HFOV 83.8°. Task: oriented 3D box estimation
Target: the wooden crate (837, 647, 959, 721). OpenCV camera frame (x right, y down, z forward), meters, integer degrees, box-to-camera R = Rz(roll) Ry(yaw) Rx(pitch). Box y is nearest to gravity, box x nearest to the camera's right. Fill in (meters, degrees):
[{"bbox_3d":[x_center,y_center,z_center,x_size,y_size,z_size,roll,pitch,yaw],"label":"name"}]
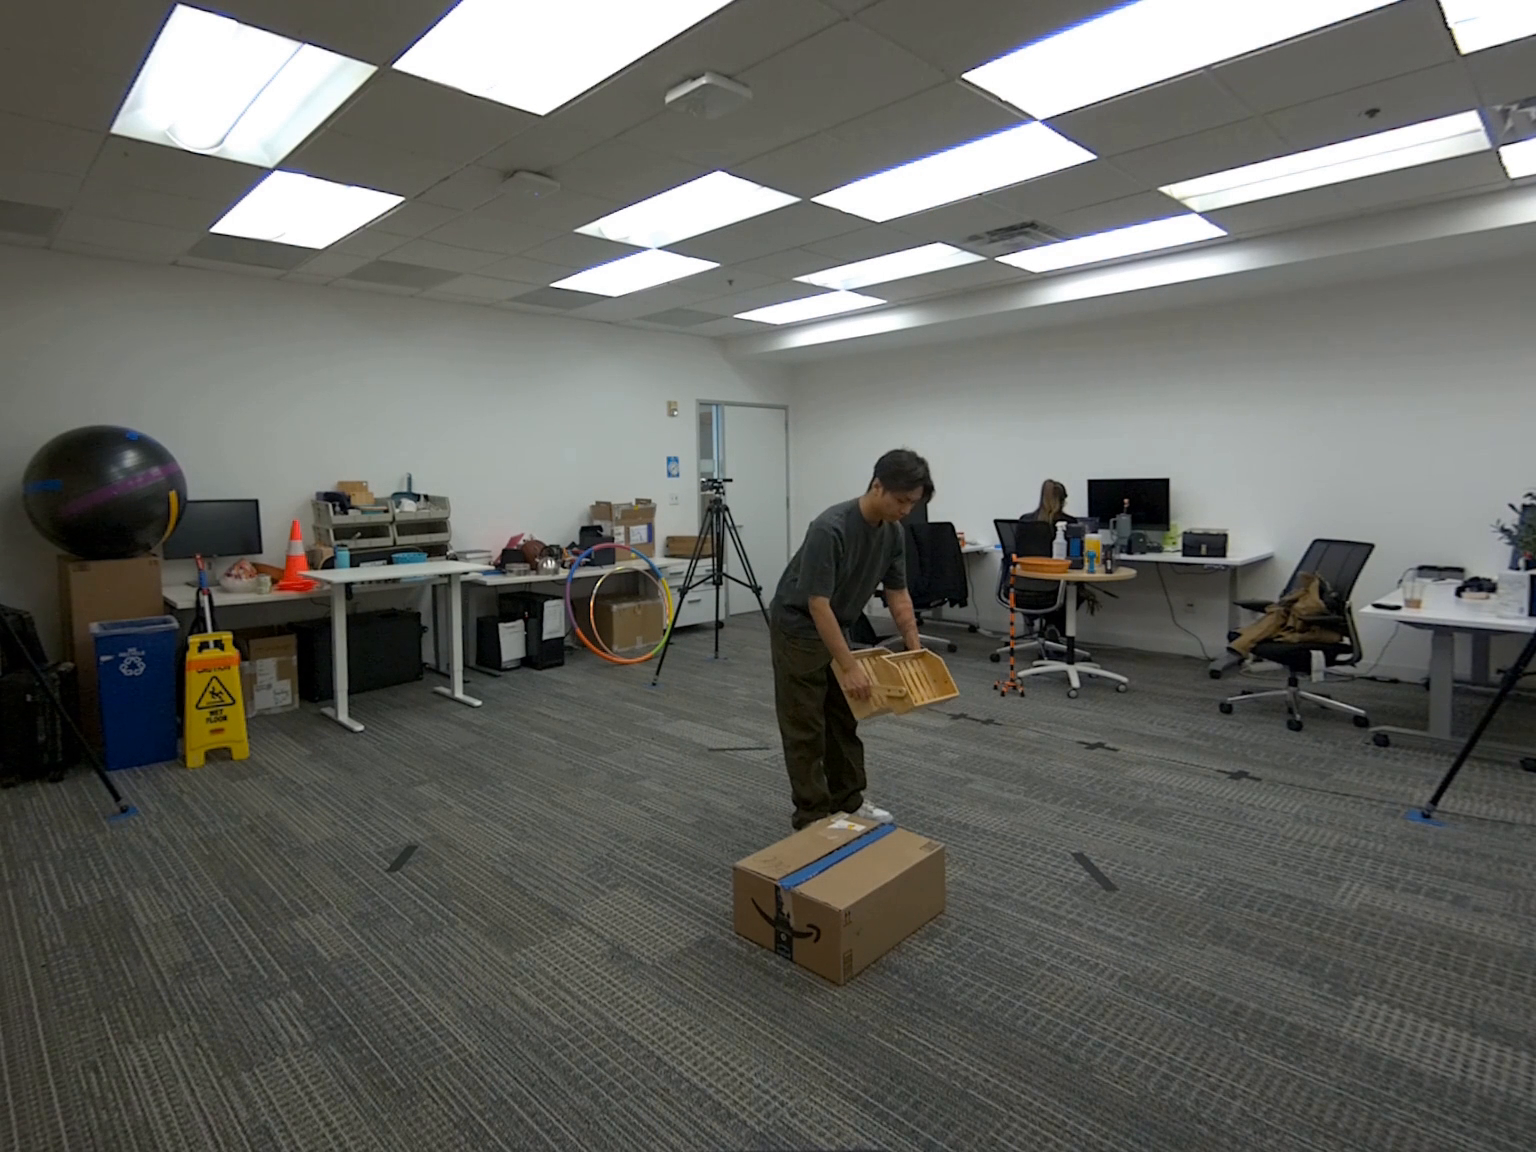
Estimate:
[{"bbox_3d":[0.465,0.367,3.171,0.315,0.309,0.274,-3,-28,-46],"label":"wooden crate"}]
